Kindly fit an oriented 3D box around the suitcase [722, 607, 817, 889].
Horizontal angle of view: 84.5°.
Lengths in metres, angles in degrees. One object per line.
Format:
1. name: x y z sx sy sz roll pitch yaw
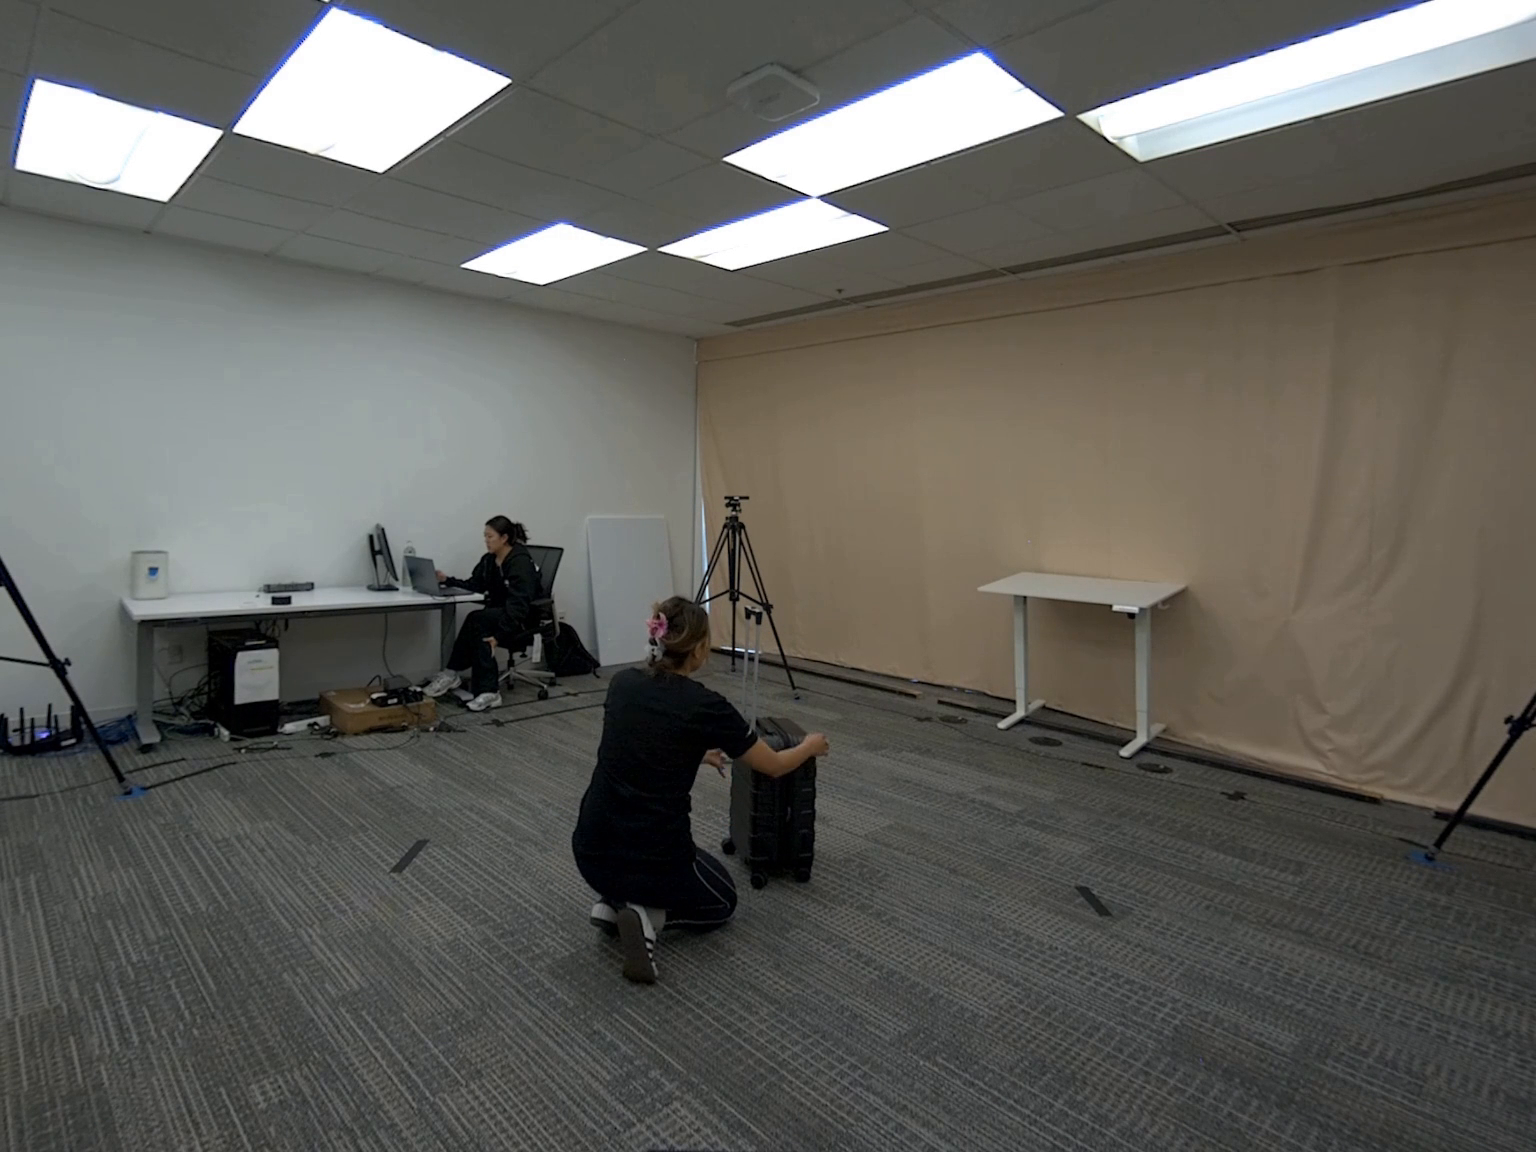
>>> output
1. suitcase: 0.018 0.625 3.171 0.254 0.977 0.388 2 2 -13
